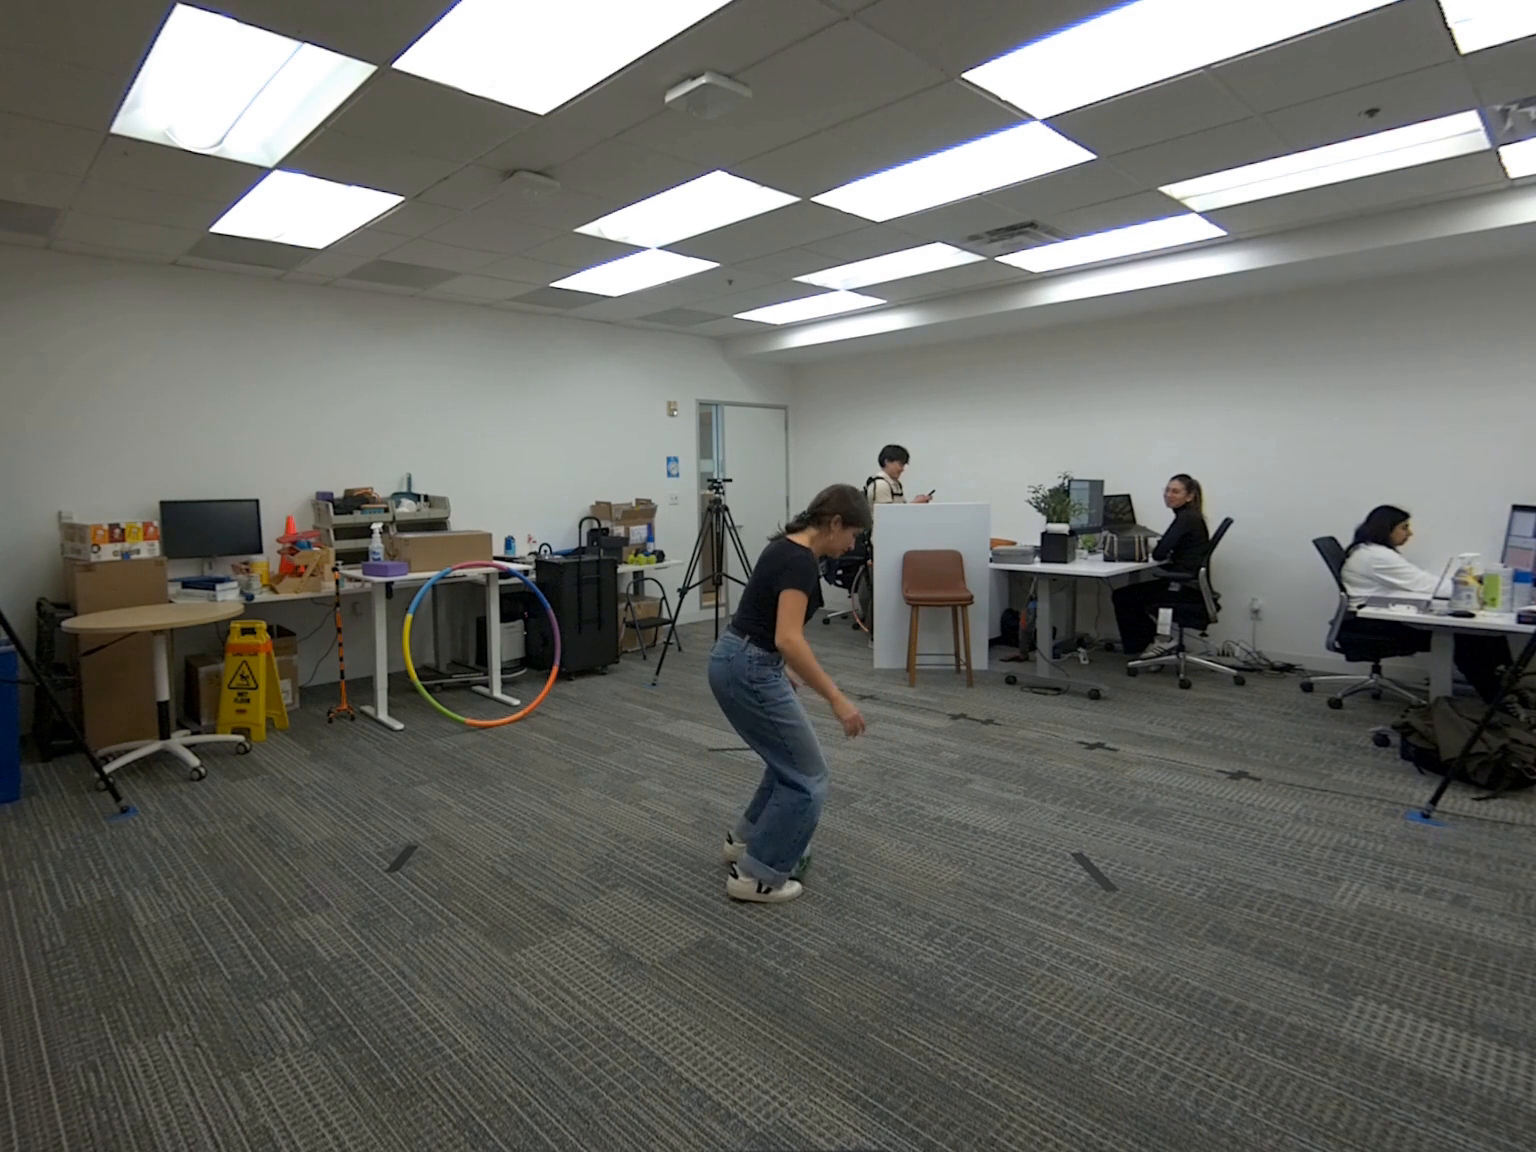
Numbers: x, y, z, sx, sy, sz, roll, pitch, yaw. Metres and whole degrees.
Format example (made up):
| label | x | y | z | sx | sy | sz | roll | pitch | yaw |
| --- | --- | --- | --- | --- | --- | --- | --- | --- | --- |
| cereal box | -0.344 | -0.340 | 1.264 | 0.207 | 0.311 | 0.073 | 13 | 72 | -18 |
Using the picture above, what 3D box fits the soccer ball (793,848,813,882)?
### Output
| label | x | y | z | sx | sy | sz | roll | pitch | yaw |
| --- | --- | --- | --- | --- | --- | --- | --- | --- | --- |
| soccer ball | 0.073 | 0.976 | 2.990 | 0.187 | 0.187 | 0.188 | -1 | 5 | -2 |
